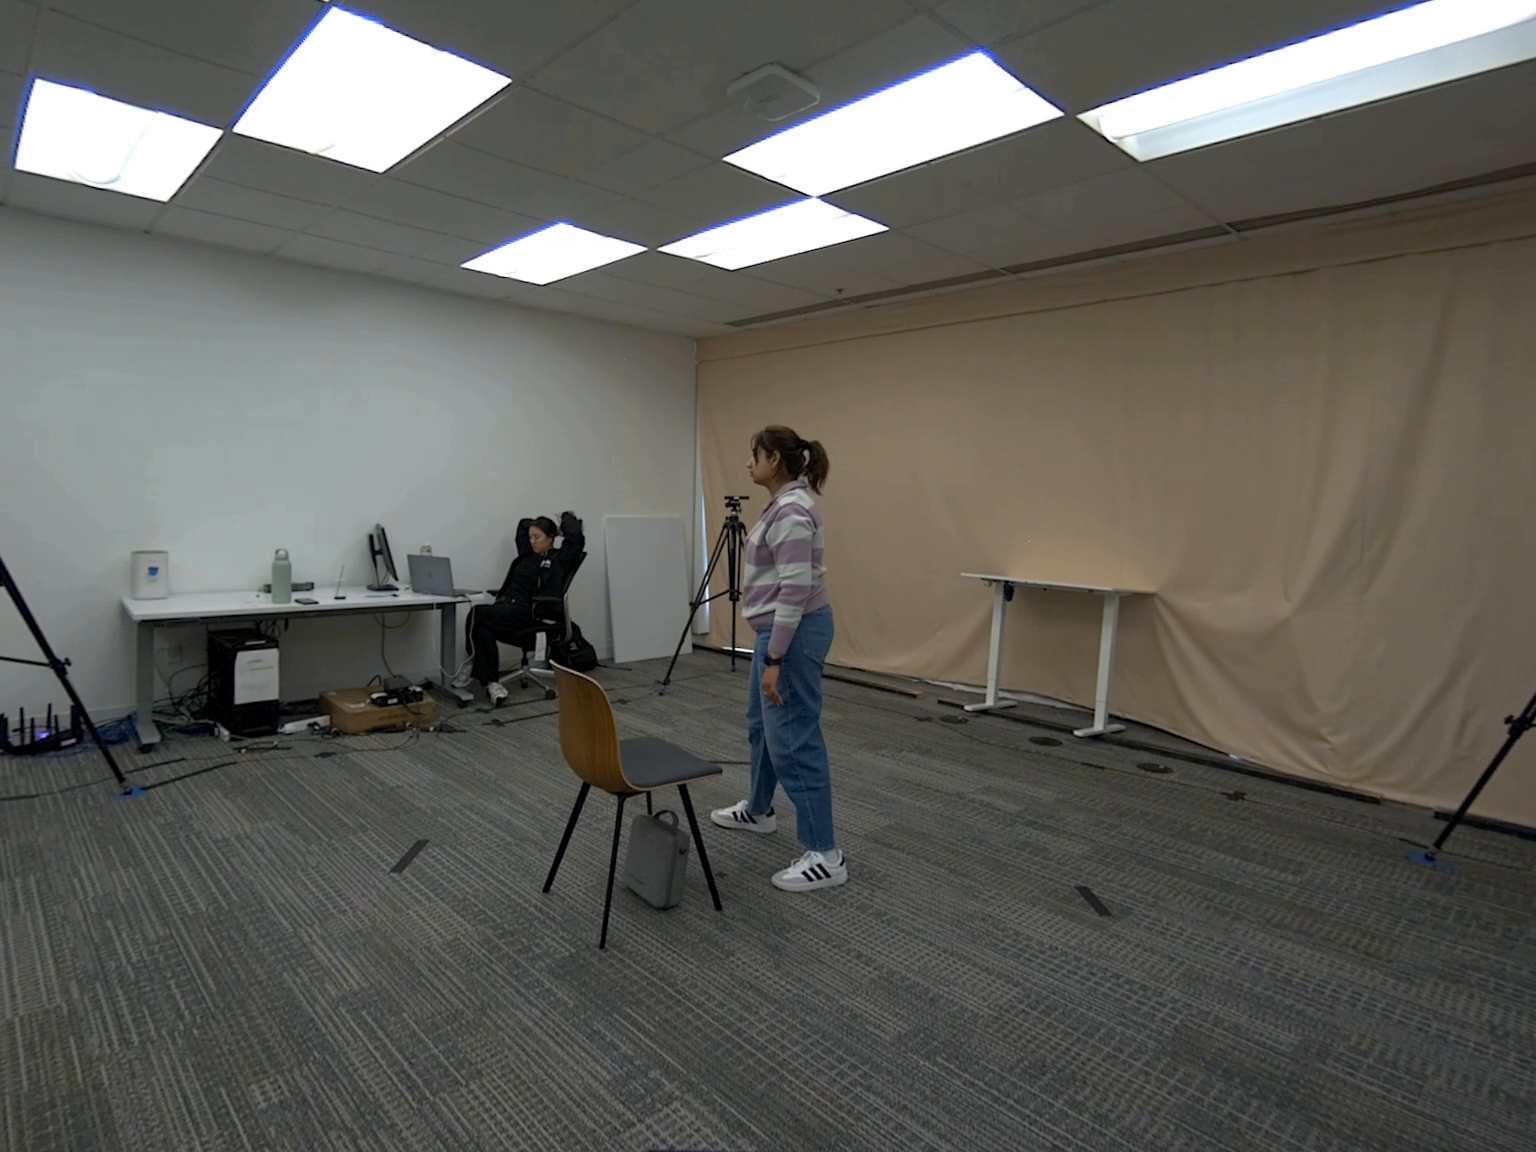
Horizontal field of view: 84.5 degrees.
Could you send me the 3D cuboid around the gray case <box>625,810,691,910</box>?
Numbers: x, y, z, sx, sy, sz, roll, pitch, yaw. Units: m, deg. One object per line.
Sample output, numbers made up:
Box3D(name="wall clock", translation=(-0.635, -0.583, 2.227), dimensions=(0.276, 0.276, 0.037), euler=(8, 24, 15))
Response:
Box3D(name="gray case", translation=(-0.403, 0.989, 2.932), dimensions=(0.101, 0.261, 0.263), euler=(11, -2, -38))
